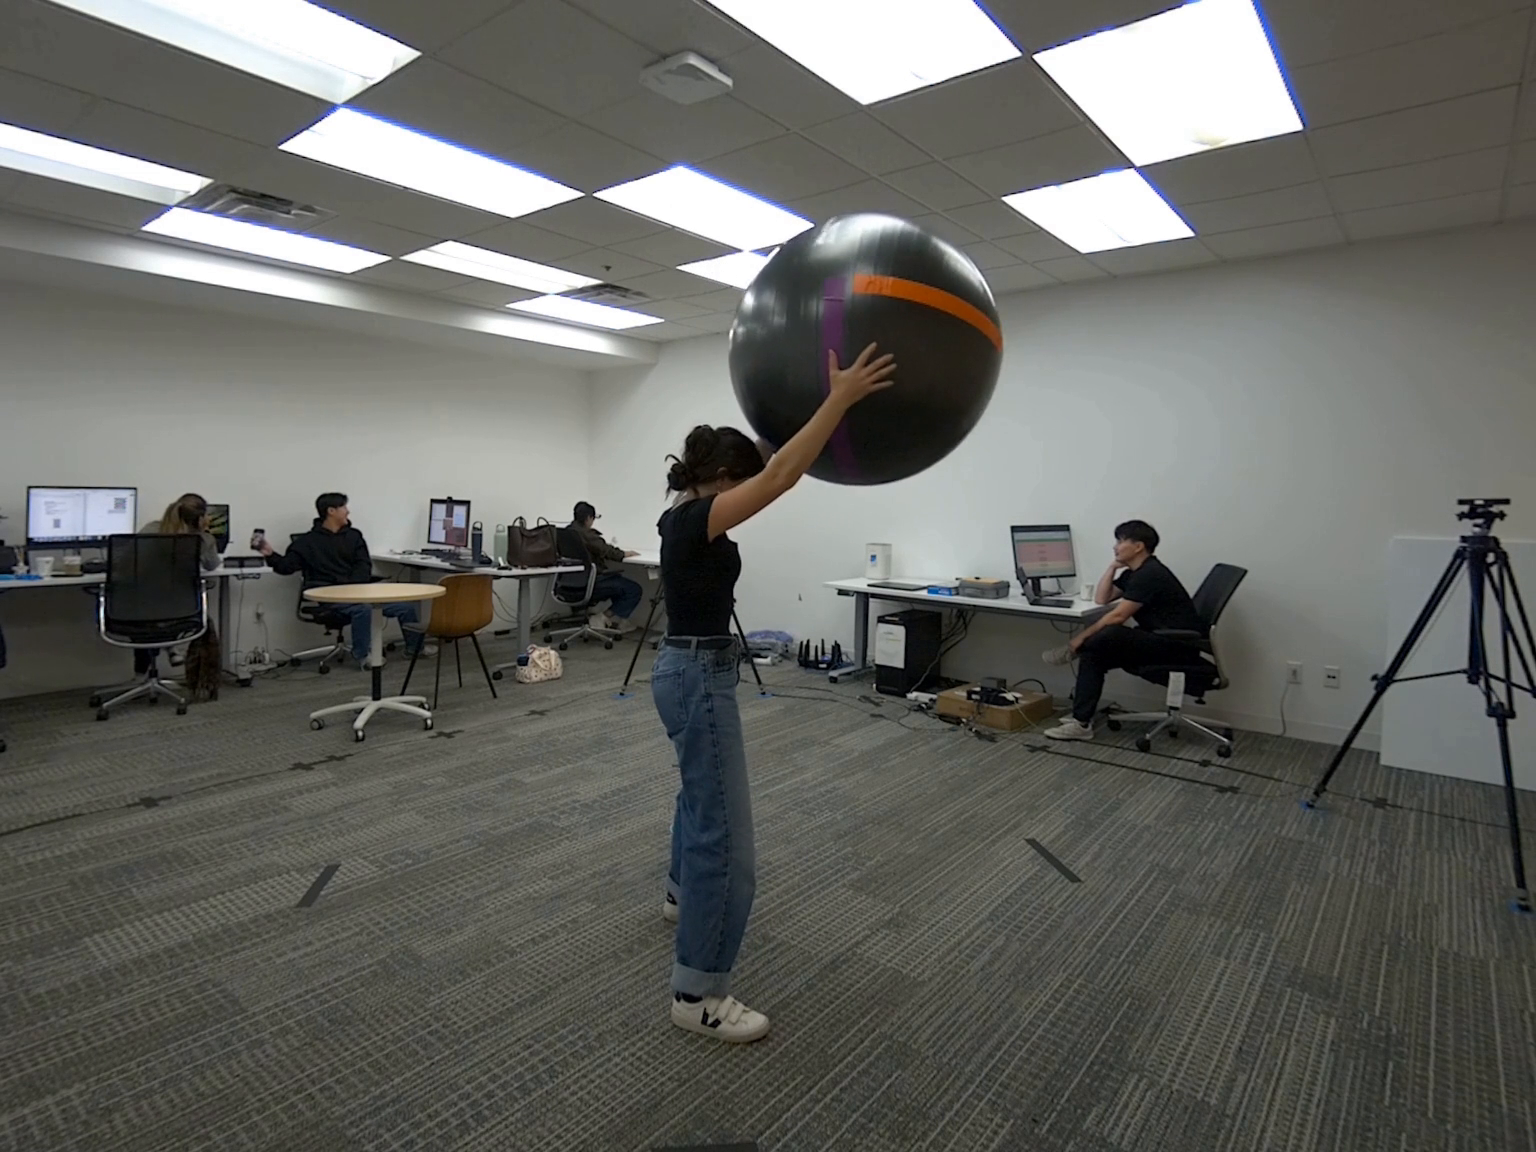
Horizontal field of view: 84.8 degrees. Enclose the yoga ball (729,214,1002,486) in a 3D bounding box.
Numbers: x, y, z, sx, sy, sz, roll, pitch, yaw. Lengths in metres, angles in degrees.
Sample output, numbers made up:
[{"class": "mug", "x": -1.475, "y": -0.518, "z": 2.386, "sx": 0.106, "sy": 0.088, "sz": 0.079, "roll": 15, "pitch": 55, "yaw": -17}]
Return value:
[{"class": "yoga ball", "x": 0.264, "y": -0.616, "z": 2.432, "sx": 0.757, "sy": 0.756, "sz": 0.762, "roll": 1, "pitch": 4, "yaw": -2}]
